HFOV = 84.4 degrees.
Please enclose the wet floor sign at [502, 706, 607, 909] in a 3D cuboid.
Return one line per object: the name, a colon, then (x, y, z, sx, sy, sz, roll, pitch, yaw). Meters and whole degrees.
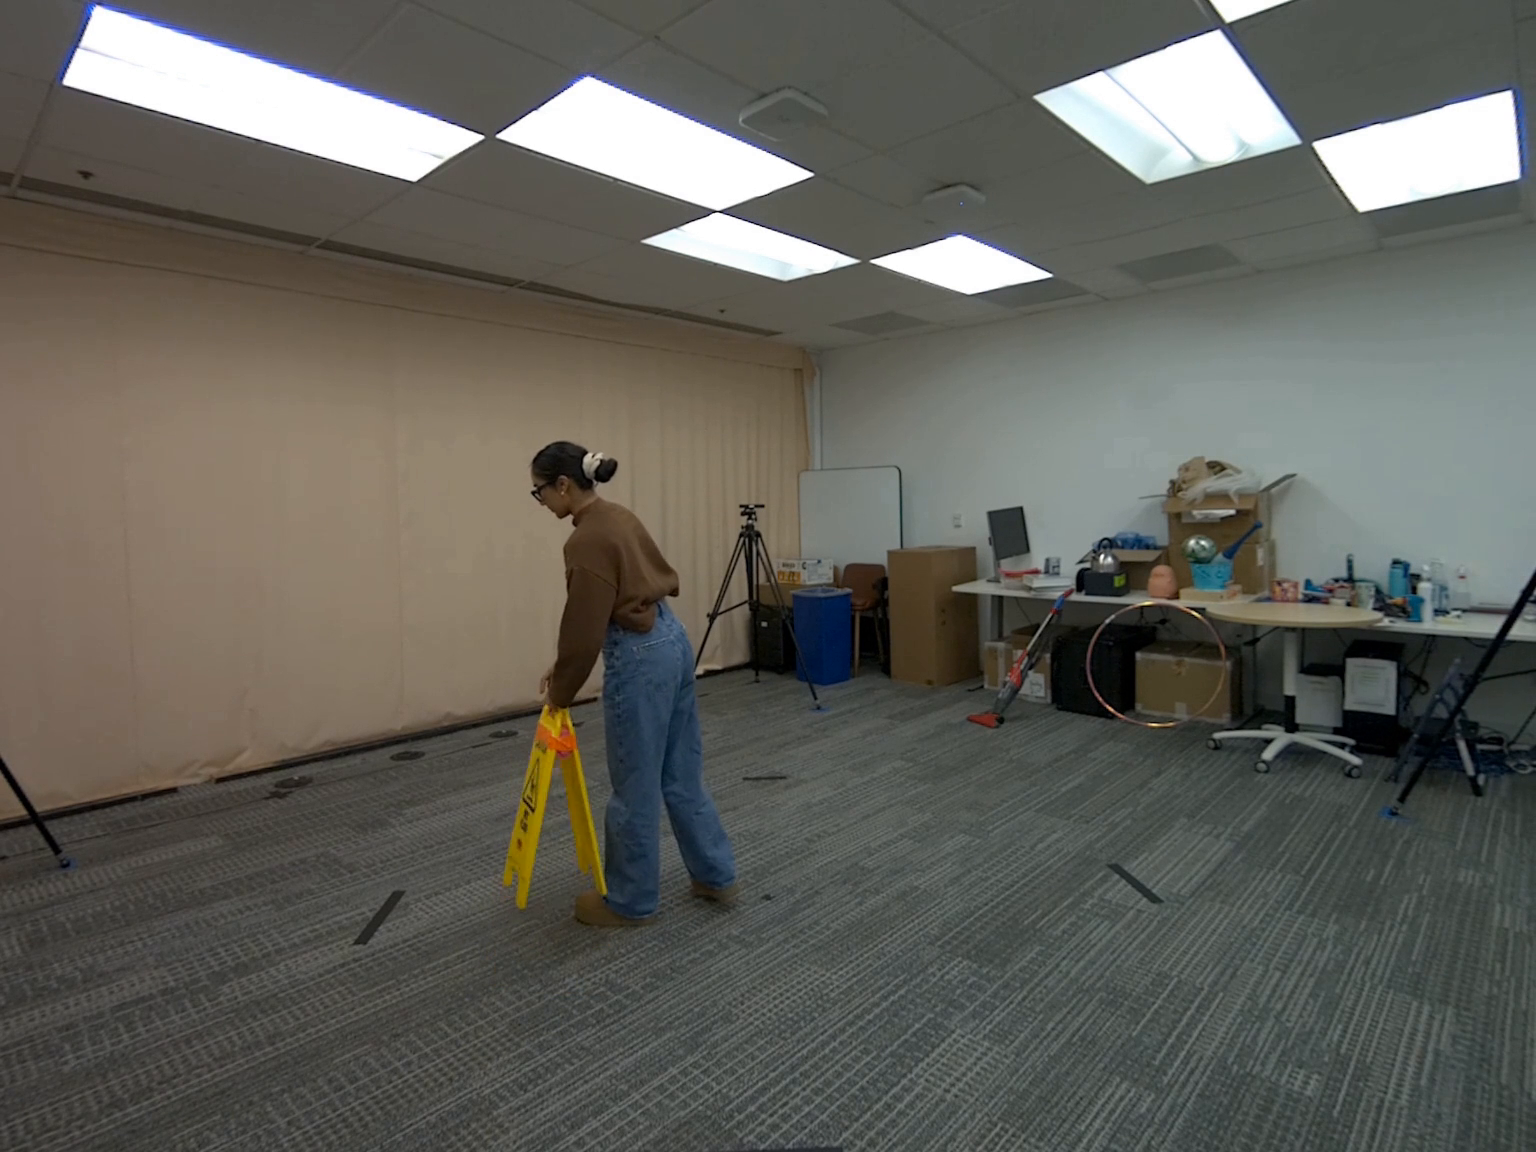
wet floor sign: (-0.706, 0.714, 2.791, 0.282, 0.647, 0.289, 1, -2, -27)
